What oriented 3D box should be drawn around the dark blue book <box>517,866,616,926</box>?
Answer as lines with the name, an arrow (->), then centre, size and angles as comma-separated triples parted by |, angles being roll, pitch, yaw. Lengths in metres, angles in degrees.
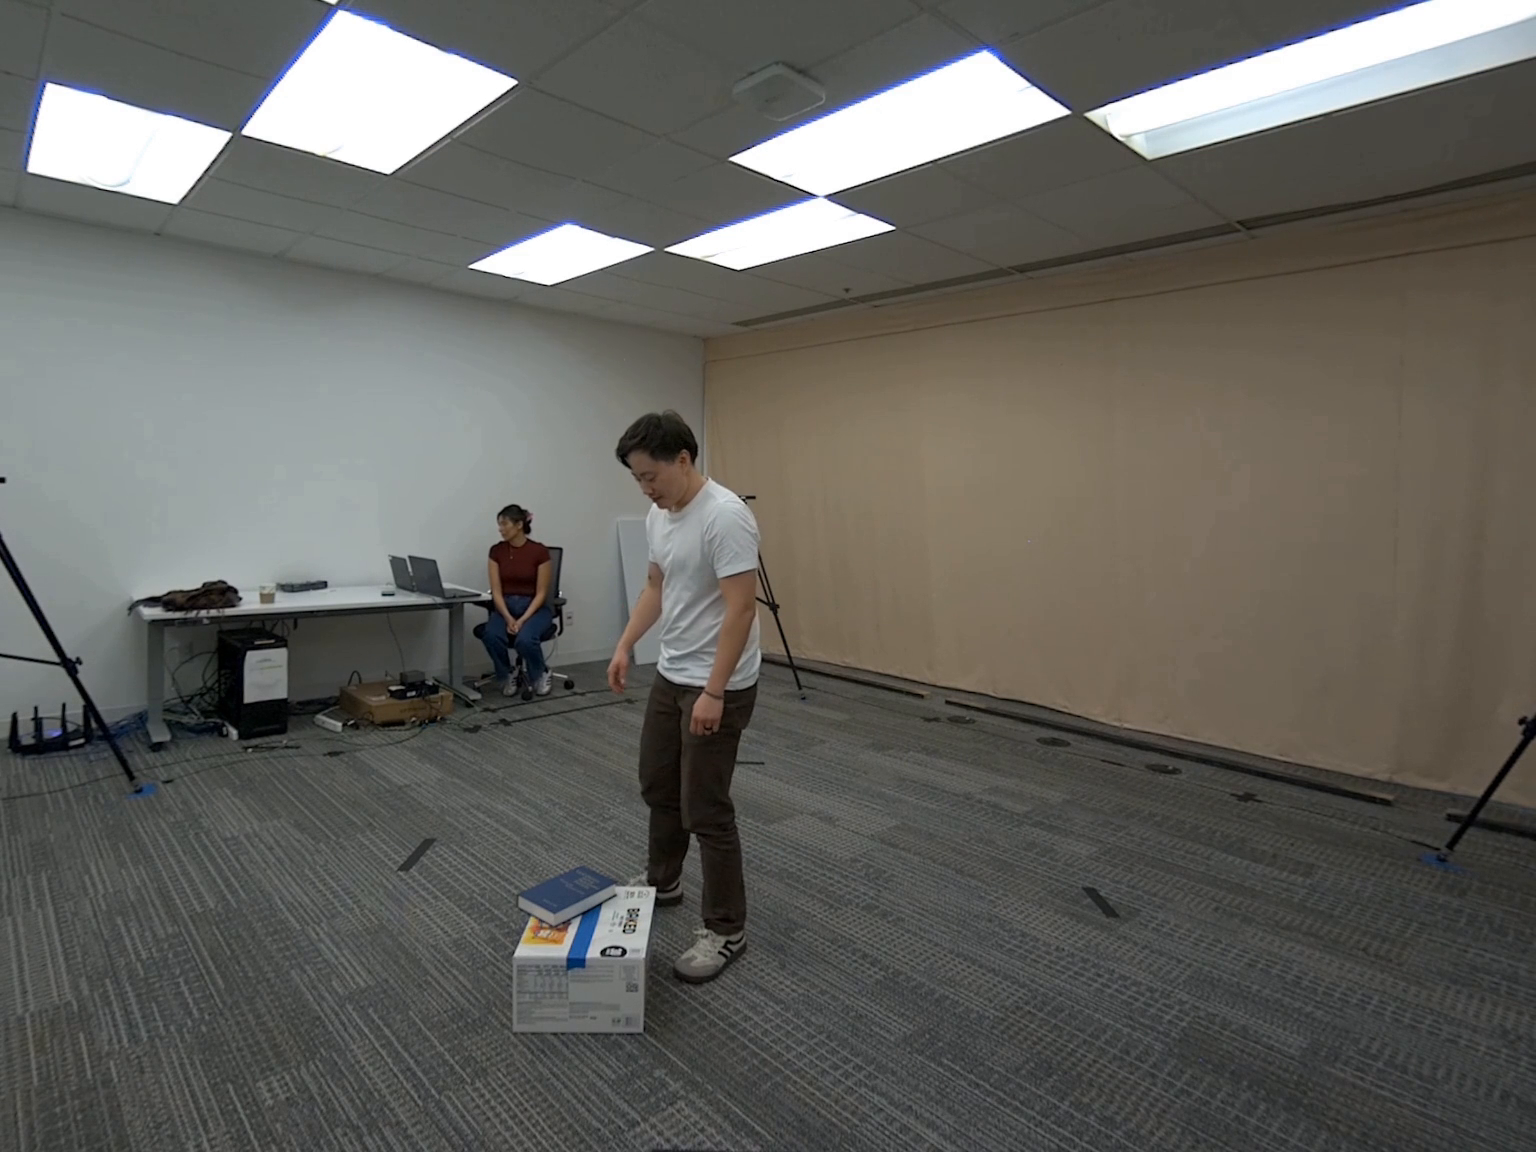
dark blue book -> -0.587, 0.935, 2.446 | 0.167, 0.045, 0.240 | 7, 8, 35
